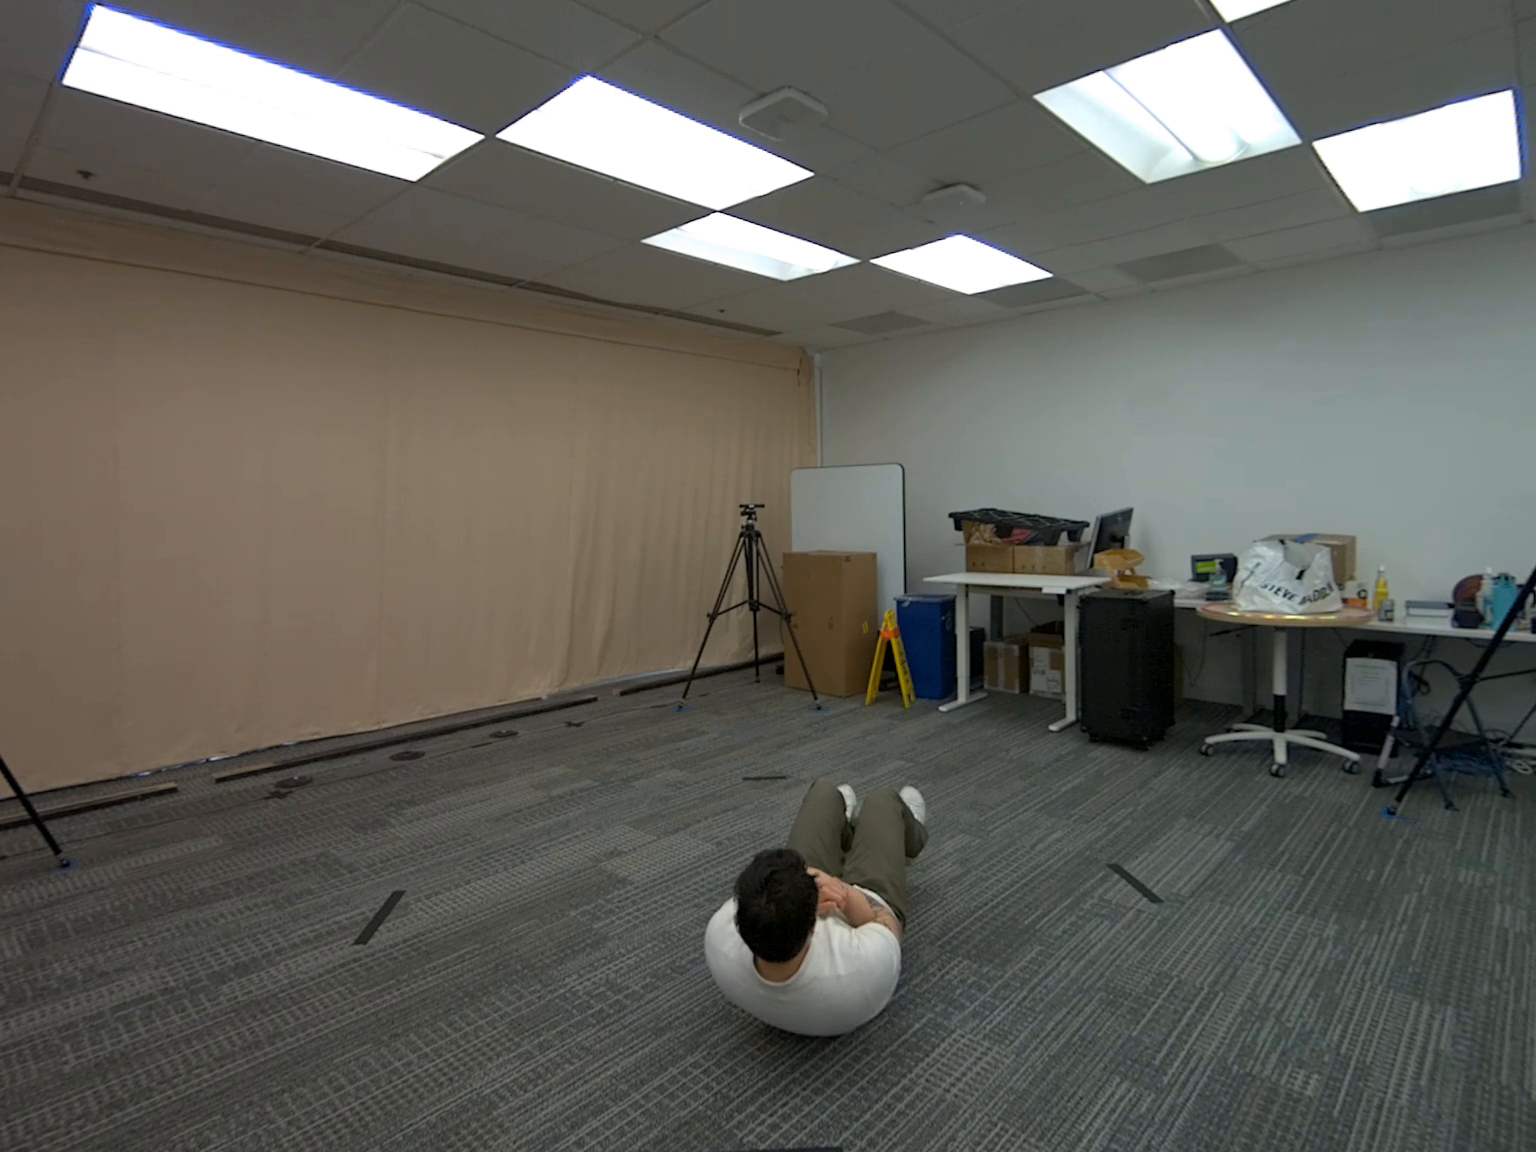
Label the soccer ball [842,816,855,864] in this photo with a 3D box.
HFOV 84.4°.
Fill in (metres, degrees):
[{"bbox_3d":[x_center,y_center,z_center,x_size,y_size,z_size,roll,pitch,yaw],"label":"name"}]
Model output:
[{"bbox_3d":[0.403,0.886,3.032,0.187,0.187,0.188,-1,4,-2],"label":"soccer ball"}]
